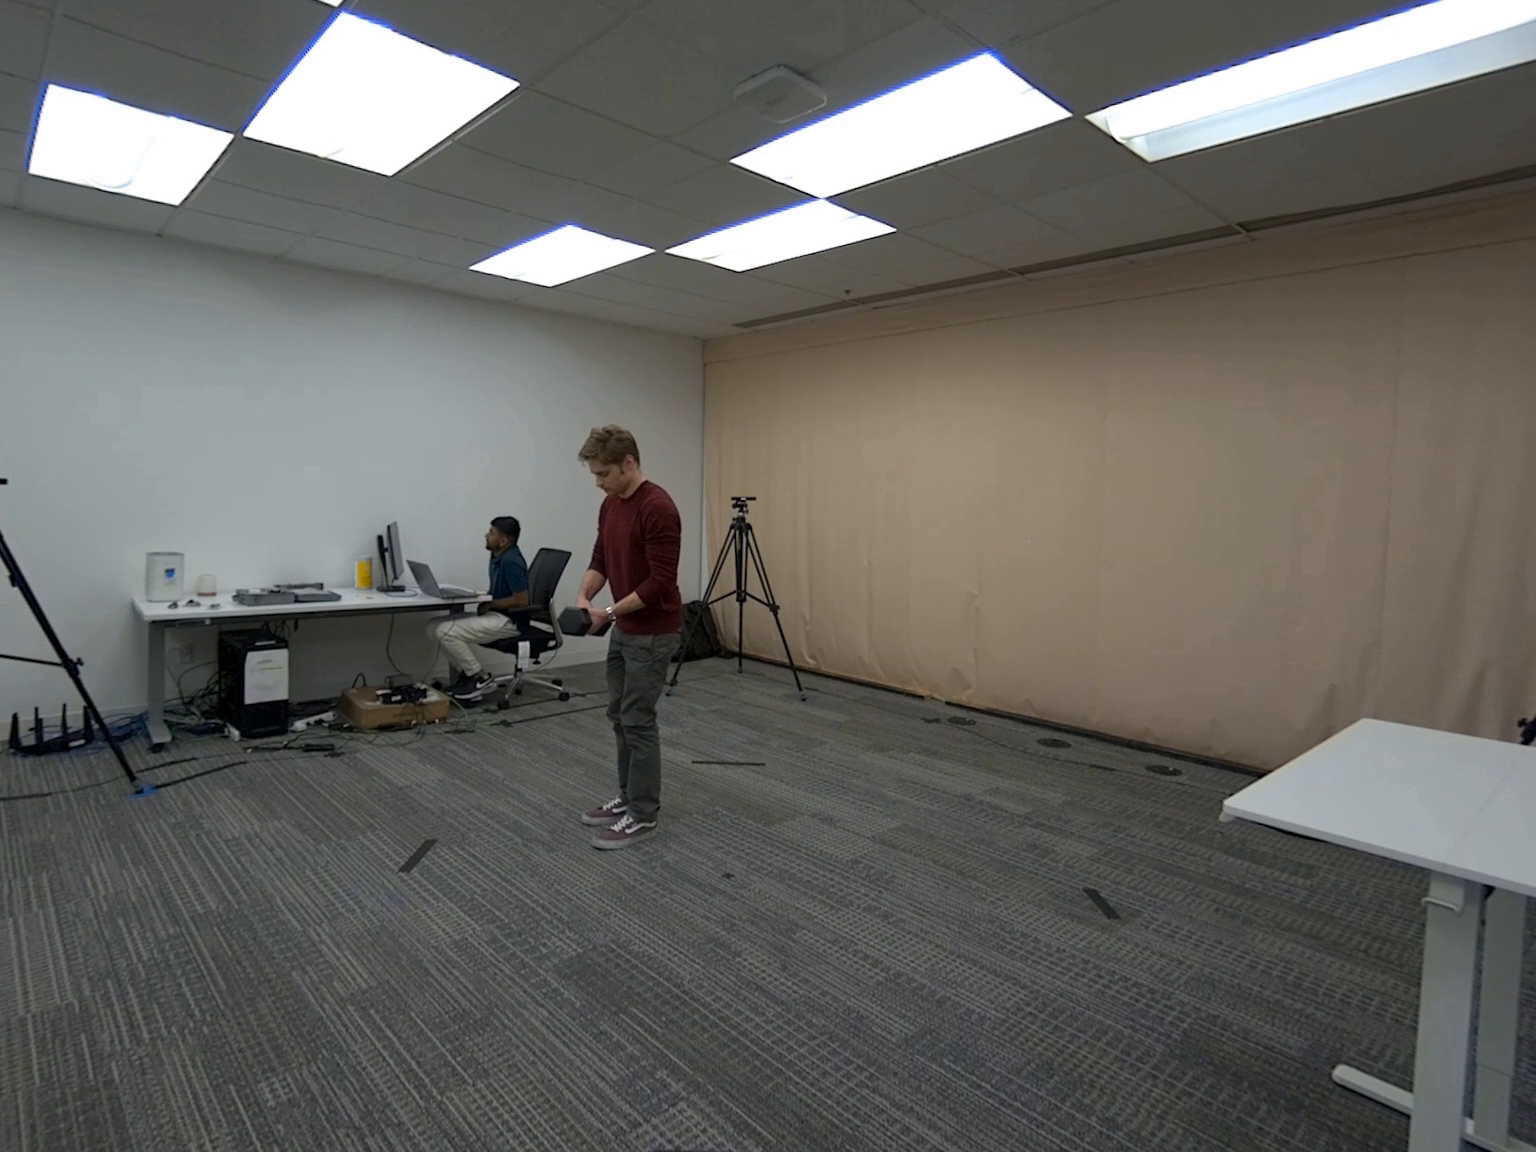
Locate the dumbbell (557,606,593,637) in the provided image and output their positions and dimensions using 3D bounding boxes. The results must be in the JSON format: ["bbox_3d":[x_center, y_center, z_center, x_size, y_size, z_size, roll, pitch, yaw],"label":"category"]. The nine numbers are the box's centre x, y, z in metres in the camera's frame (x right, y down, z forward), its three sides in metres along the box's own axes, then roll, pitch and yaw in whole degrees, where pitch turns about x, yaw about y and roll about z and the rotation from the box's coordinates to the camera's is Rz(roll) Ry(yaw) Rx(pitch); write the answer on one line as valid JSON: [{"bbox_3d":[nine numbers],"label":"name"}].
[{"bbox_3d":[-0.724,0.179,3.258,0.109,0.124,0.289,-27,-11,11],"label":"dumbbell"}]
